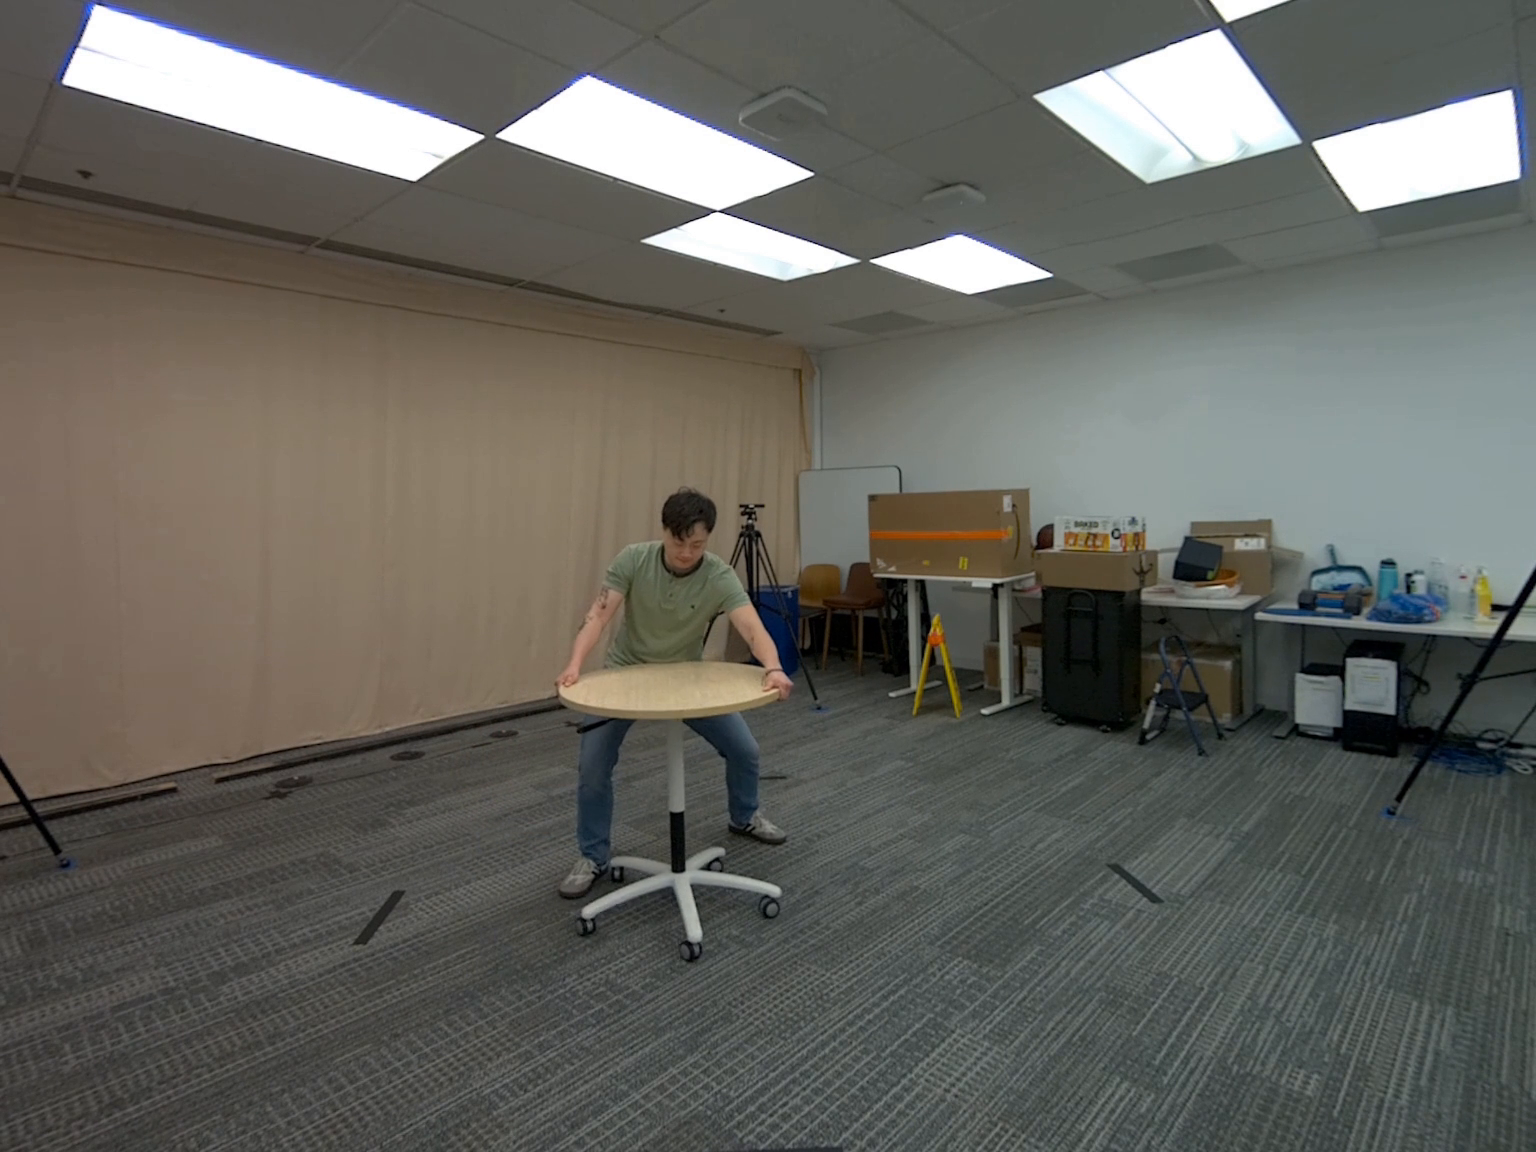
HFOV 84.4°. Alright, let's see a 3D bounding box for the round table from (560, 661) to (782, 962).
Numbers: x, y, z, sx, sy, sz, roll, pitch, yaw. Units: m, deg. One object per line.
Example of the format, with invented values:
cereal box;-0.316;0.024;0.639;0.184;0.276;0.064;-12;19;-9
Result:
round table;-0.307;0.762;2.876;0.763;0.792;0.767;-2;4;-2
